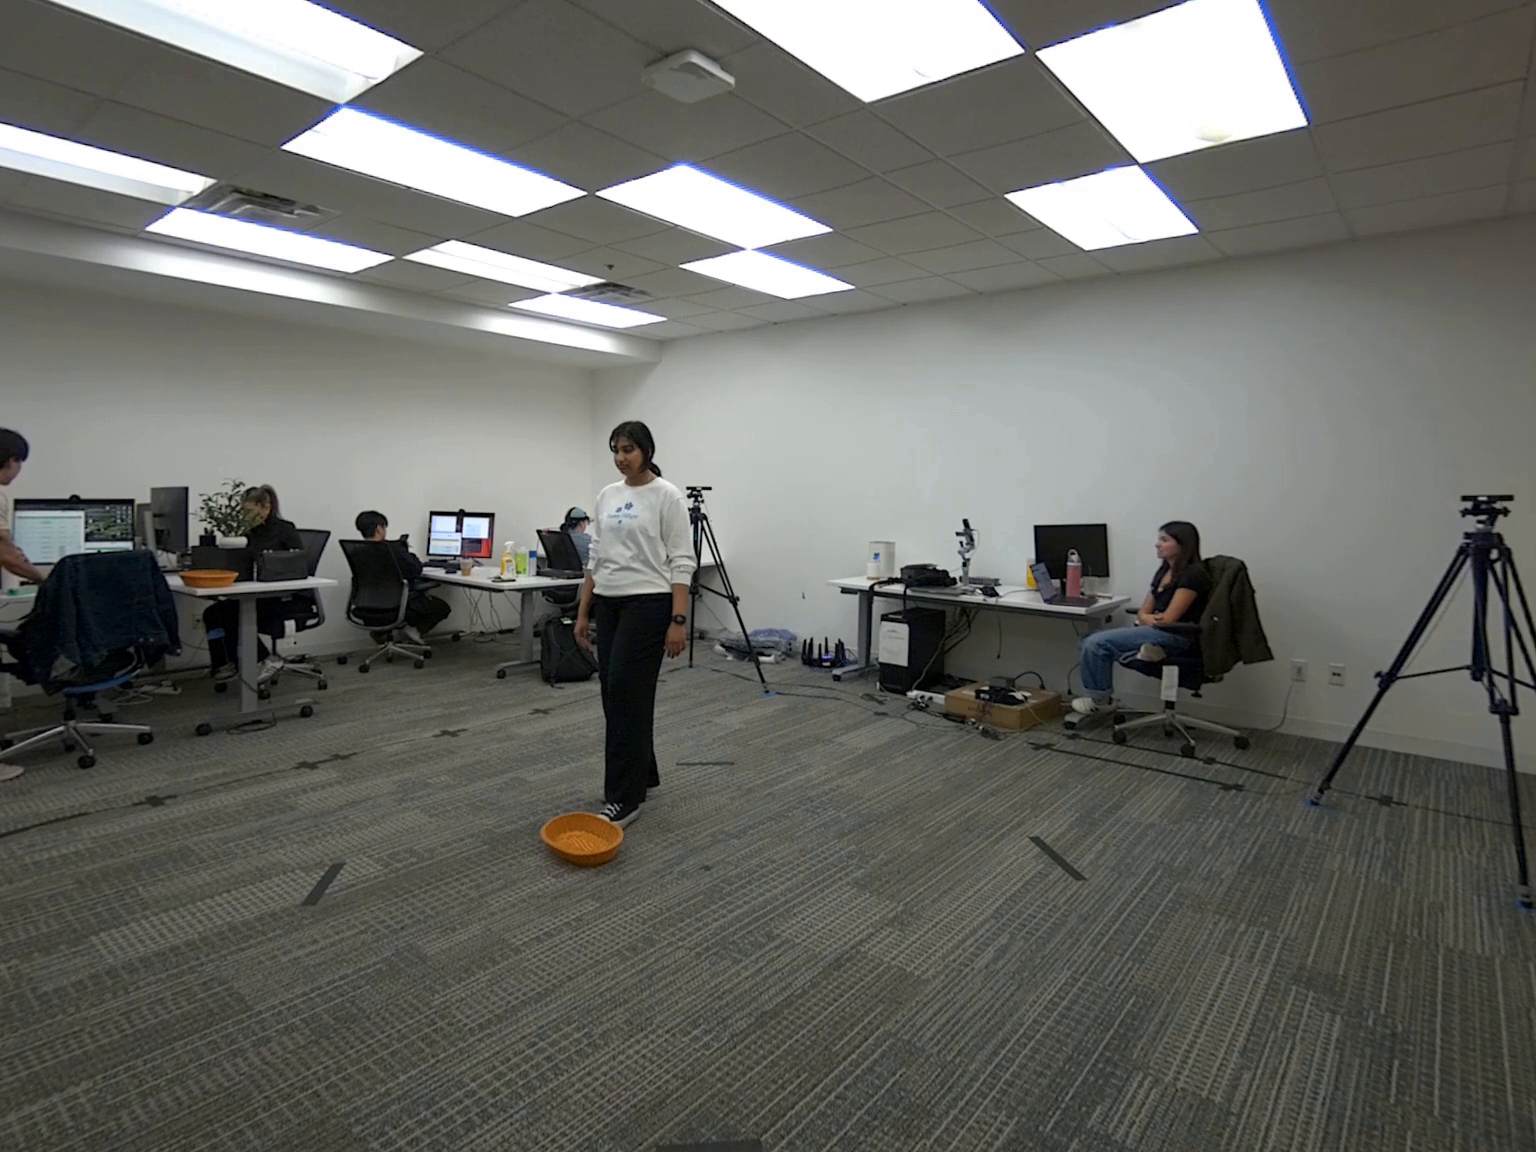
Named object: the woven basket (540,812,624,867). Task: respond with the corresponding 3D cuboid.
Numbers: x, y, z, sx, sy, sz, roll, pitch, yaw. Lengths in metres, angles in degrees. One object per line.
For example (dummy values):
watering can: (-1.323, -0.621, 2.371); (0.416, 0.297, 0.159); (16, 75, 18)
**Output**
woven basket: (-0.707, 1.002, 3.232); (0.363, 0.073, 0.246); (9, 16, 43)
